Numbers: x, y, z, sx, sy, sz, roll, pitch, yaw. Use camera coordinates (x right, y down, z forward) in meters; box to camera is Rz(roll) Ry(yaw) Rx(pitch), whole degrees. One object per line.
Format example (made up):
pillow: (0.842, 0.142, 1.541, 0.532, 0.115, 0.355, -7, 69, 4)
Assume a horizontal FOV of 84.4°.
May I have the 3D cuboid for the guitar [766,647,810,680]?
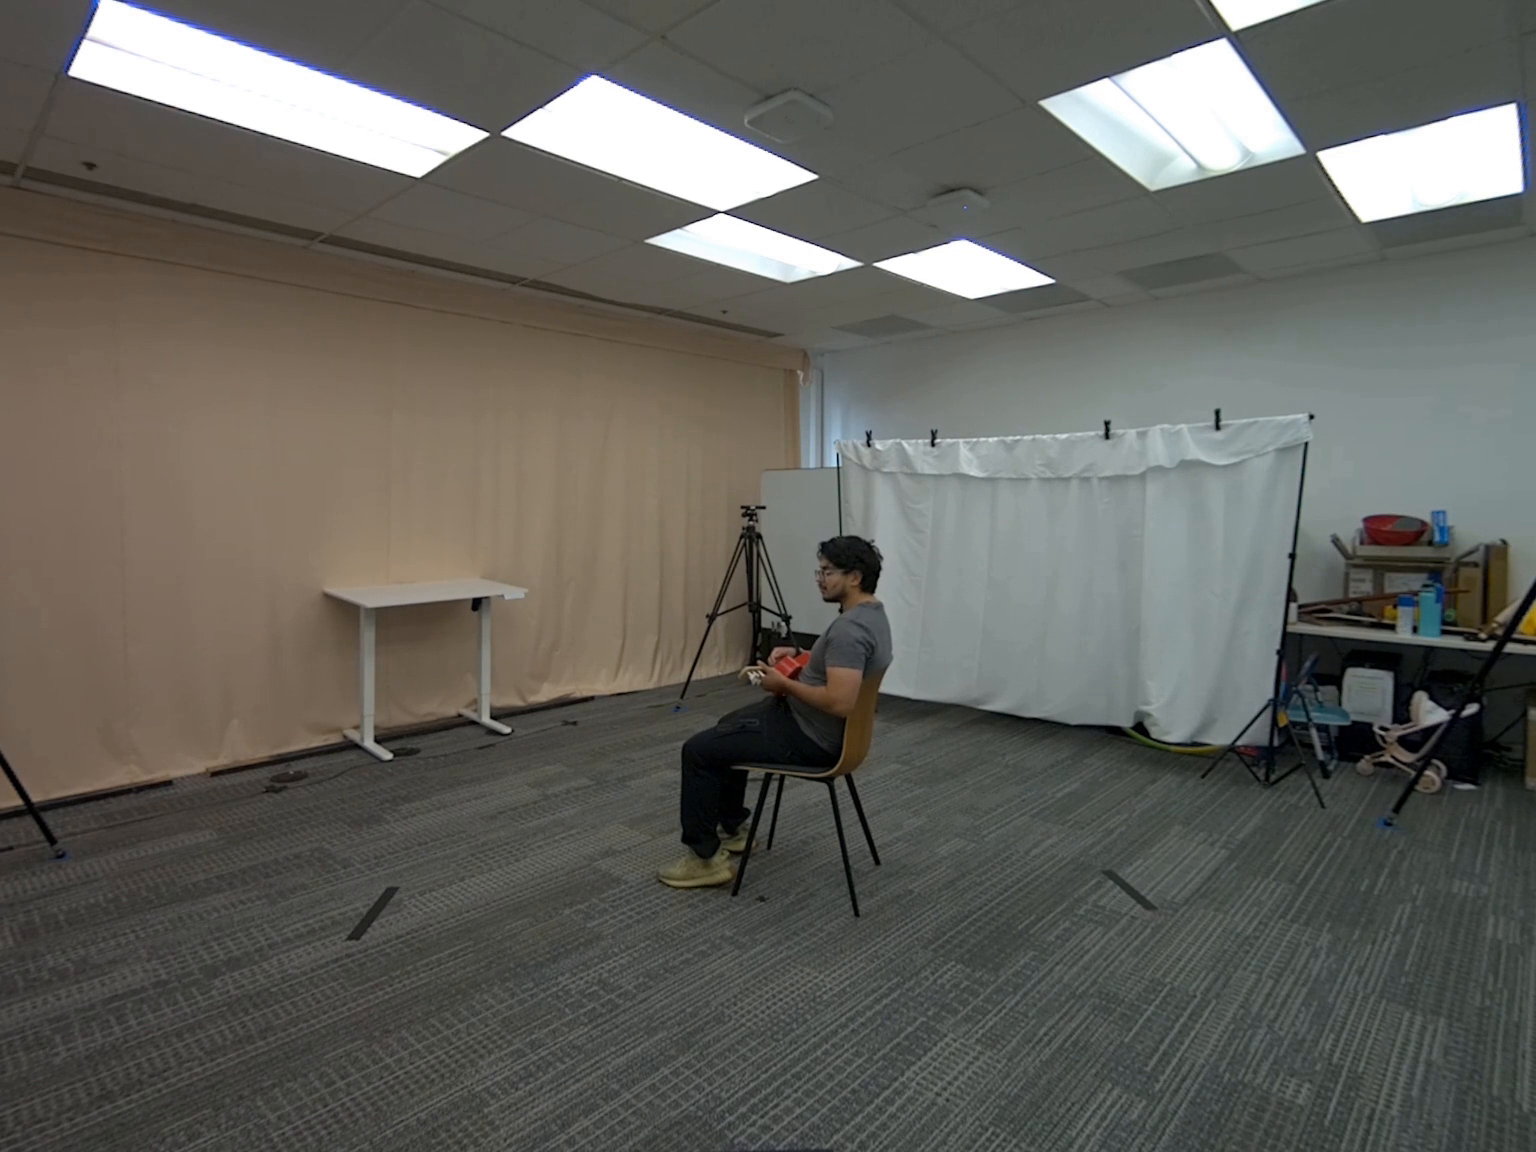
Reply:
guitar: (0.029, 0.388, 3.080, 0.073, 0.193, 0.484, 40, 23, 24)
